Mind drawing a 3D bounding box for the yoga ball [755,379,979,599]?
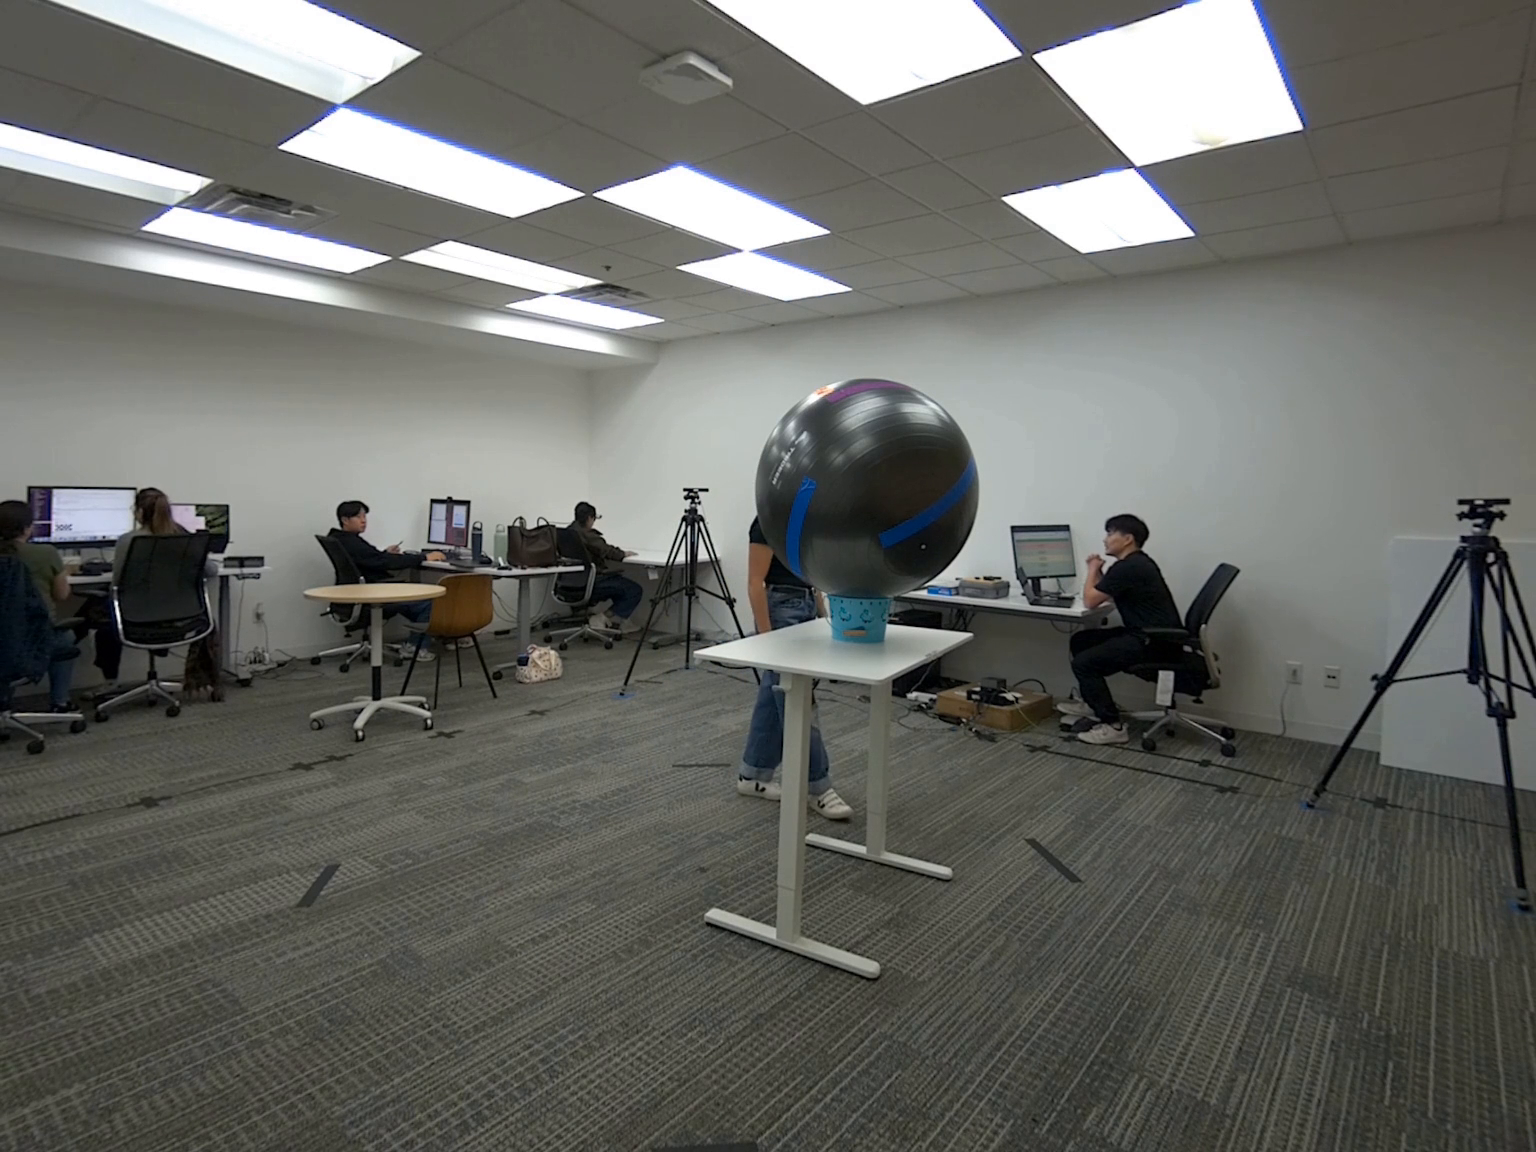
[{"bbox_3d":[0.328,-0.292,2.930,0.757,0.756,0.762,1,4,-2],"label":"yoga ball"}]
